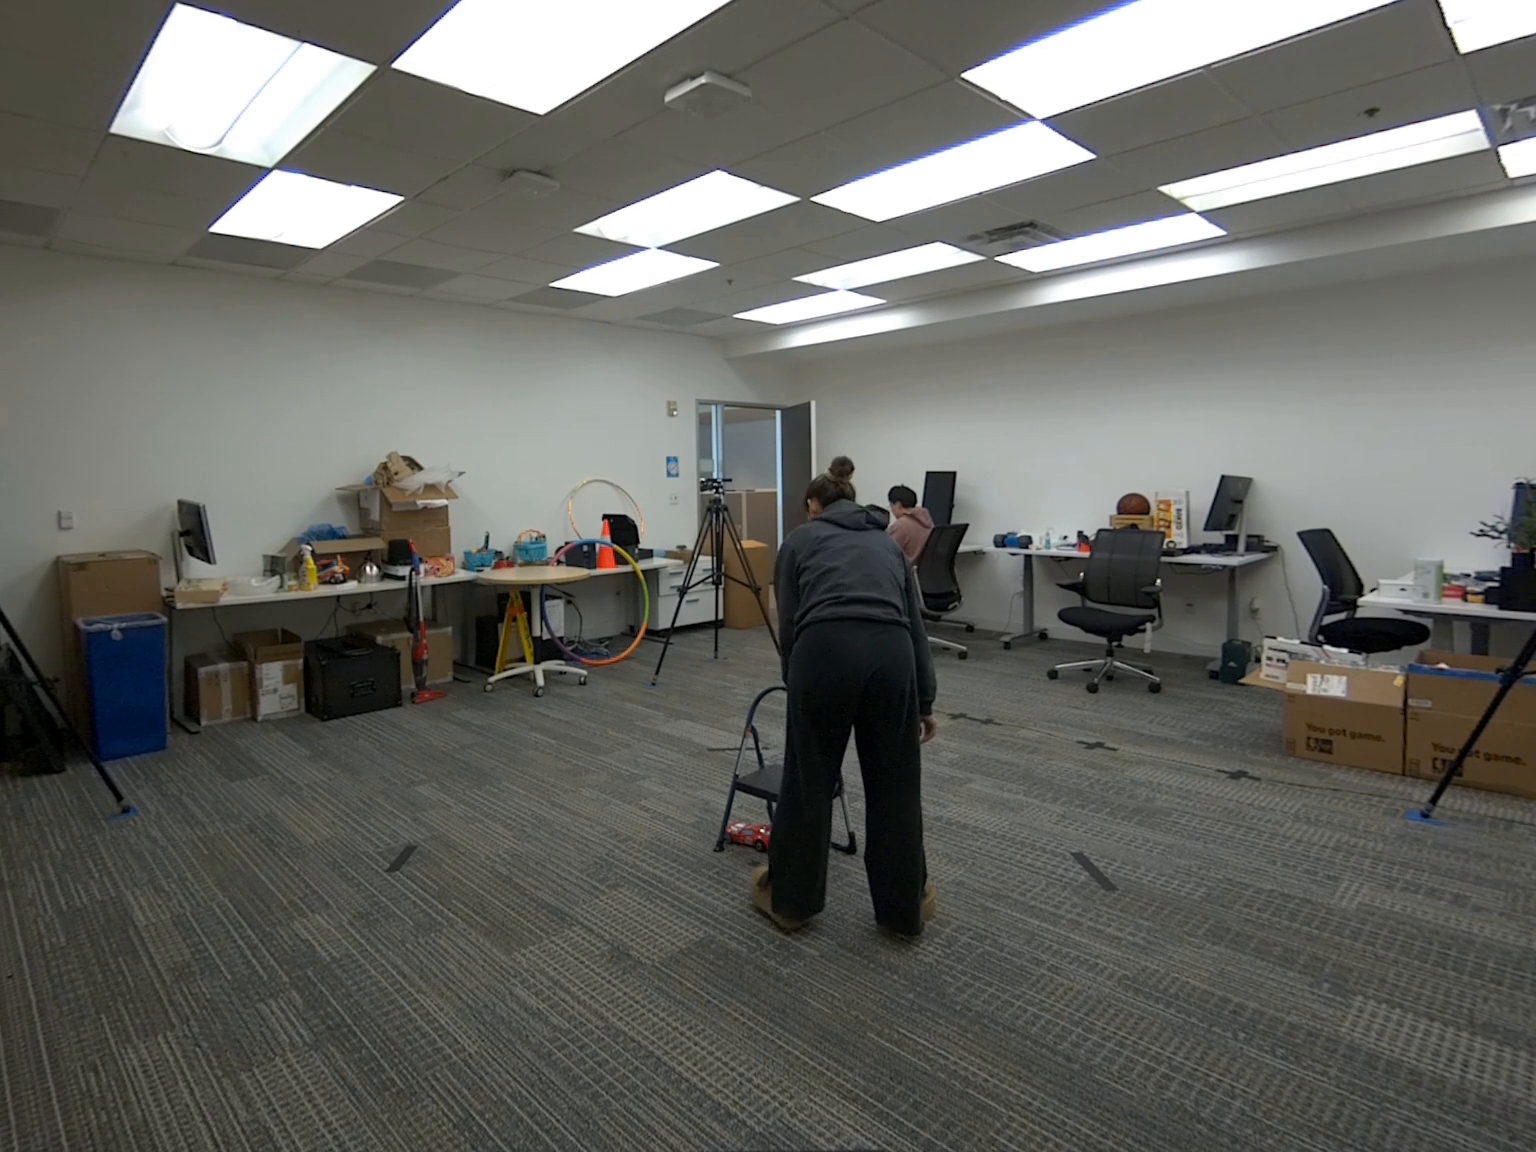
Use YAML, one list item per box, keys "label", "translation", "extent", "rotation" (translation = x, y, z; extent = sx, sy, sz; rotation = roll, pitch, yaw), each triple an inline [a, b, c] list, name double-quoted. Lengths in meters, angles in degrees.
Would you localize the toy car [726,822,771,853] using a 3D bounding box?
- label: "toy car"
  translation: [-0.040, 0.998, 3.253]
  extent: [0.260, 0.083, 0.127]
  rotation: [-10, -1, 33]
